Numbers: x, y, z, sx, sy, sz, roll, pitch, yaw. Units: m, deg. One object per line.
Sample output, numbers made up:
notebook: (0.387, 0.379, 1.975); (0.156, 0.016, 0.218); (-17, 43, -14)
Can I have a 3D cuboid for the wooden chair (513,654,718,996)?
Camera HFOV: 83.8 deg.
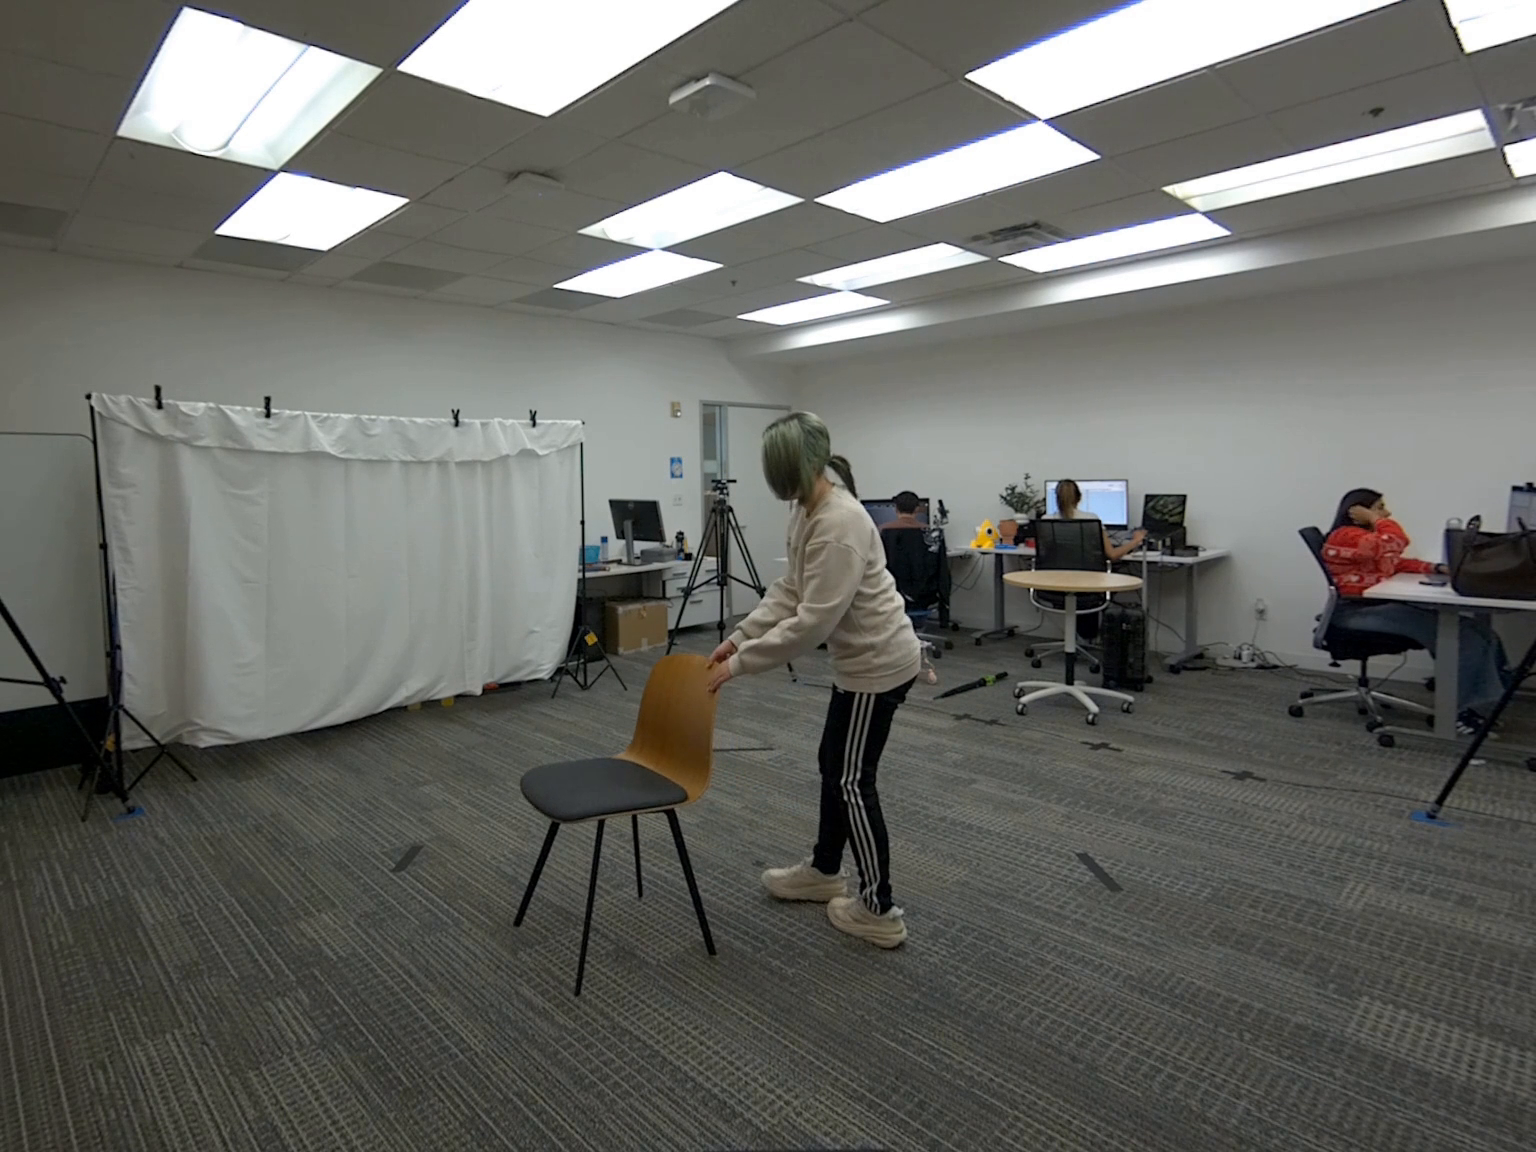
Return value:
wooden chair: (-0.443, 0.674, 2.556); (0.507, 0.878, 0.492); (8, -1, -37)
